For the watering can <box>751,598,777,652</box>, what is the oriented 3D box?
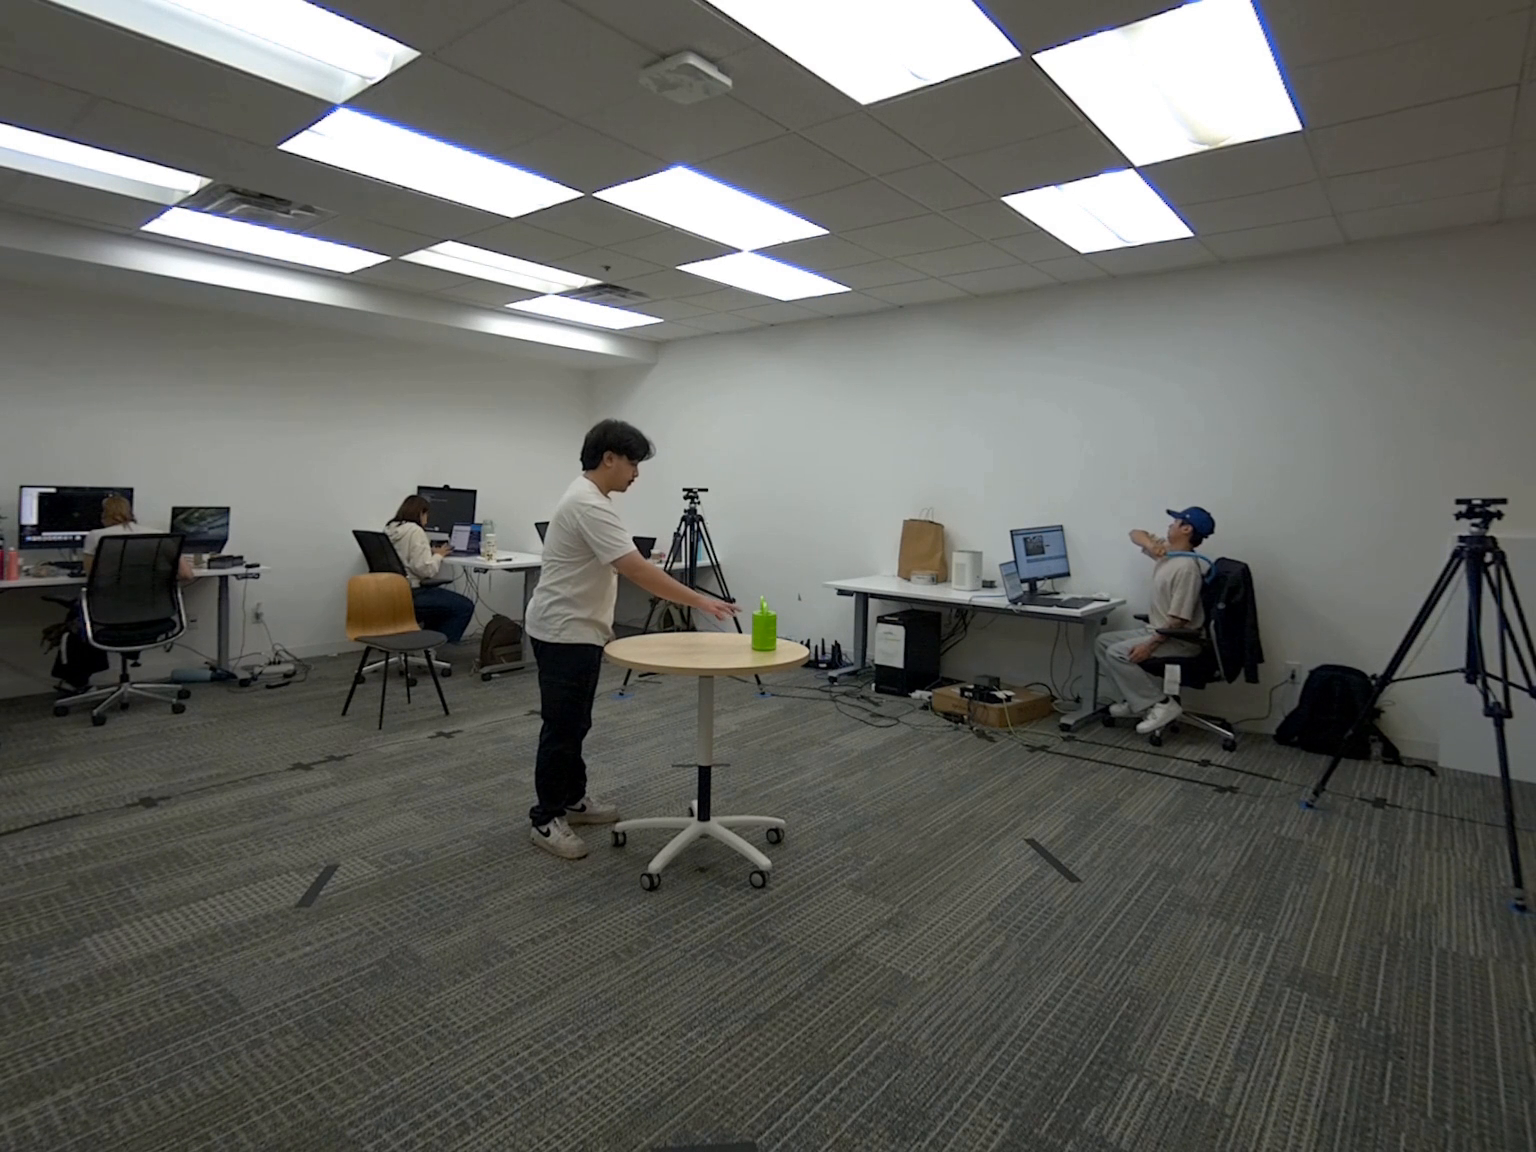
[{"bbox_3d":[-0.024,0.181,3.252,0.100,0.176,0.274,0,5,16],"label":"watering can"}]
